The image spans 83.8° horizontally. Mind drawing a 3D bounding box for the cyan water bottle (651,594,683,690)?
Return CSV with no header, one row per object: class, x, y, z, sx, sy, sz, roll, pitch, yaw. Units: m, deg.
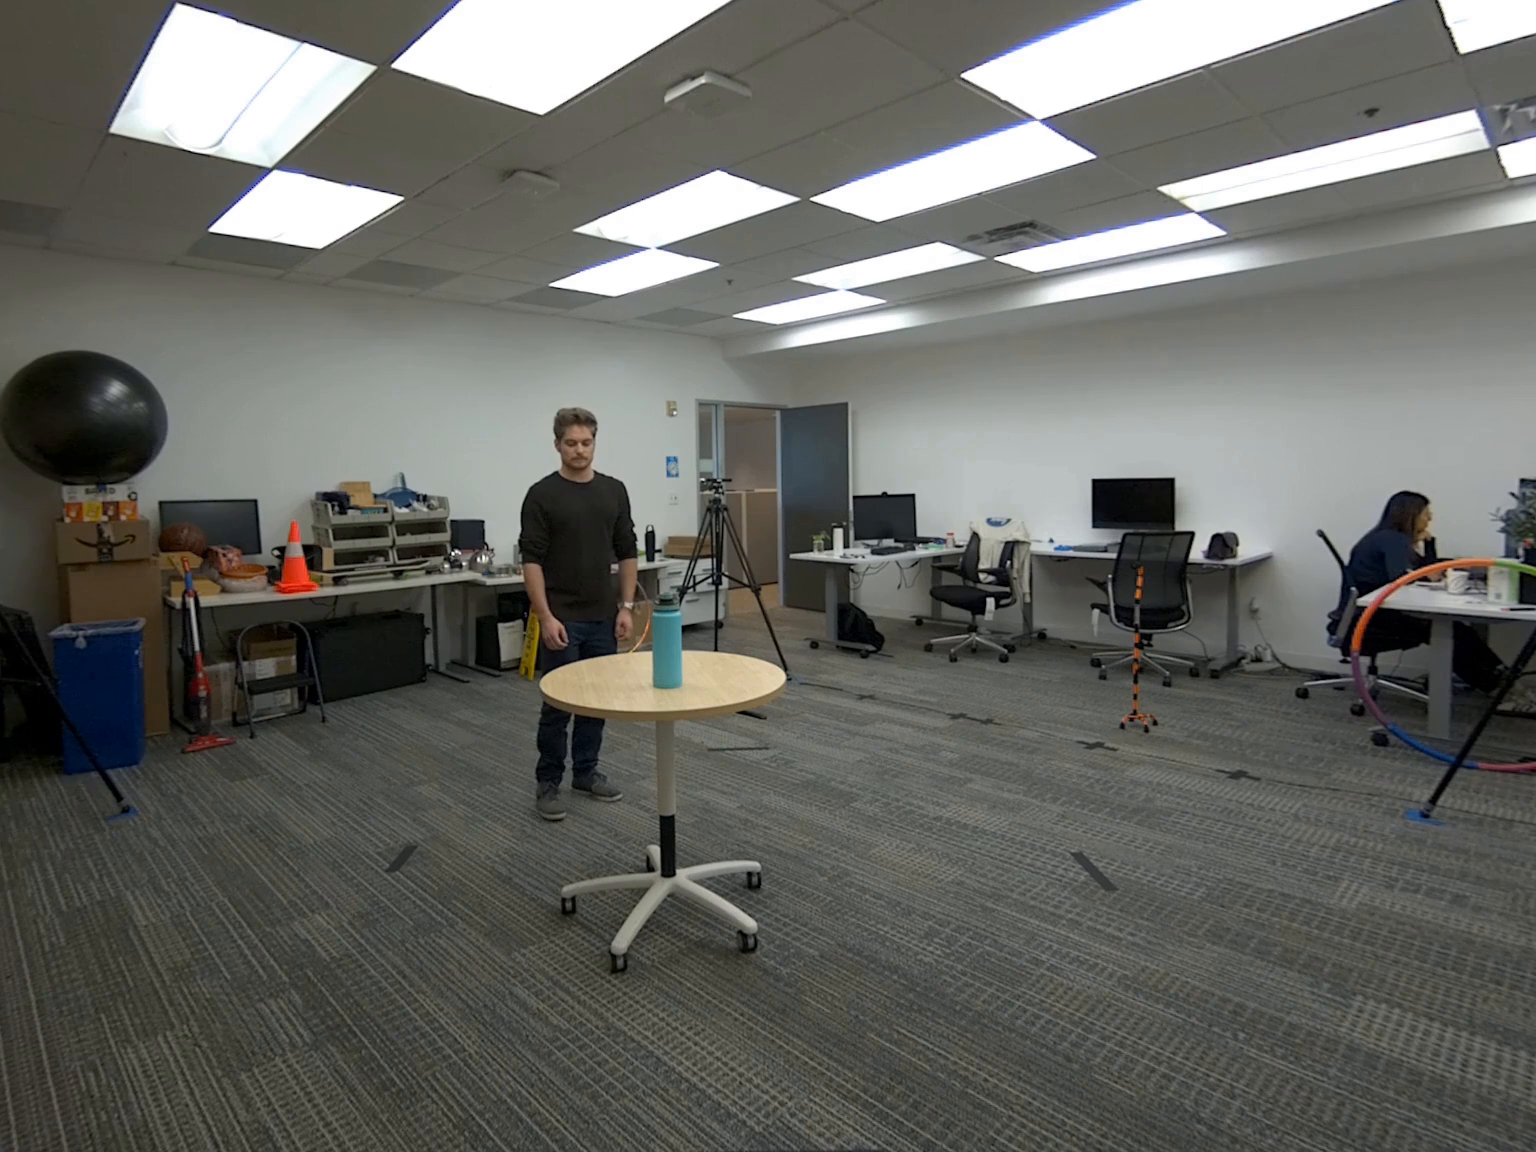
cyan water bottle,-0.303,0.191,2.560,0.092,0.282,0.093,-2,4,-2
